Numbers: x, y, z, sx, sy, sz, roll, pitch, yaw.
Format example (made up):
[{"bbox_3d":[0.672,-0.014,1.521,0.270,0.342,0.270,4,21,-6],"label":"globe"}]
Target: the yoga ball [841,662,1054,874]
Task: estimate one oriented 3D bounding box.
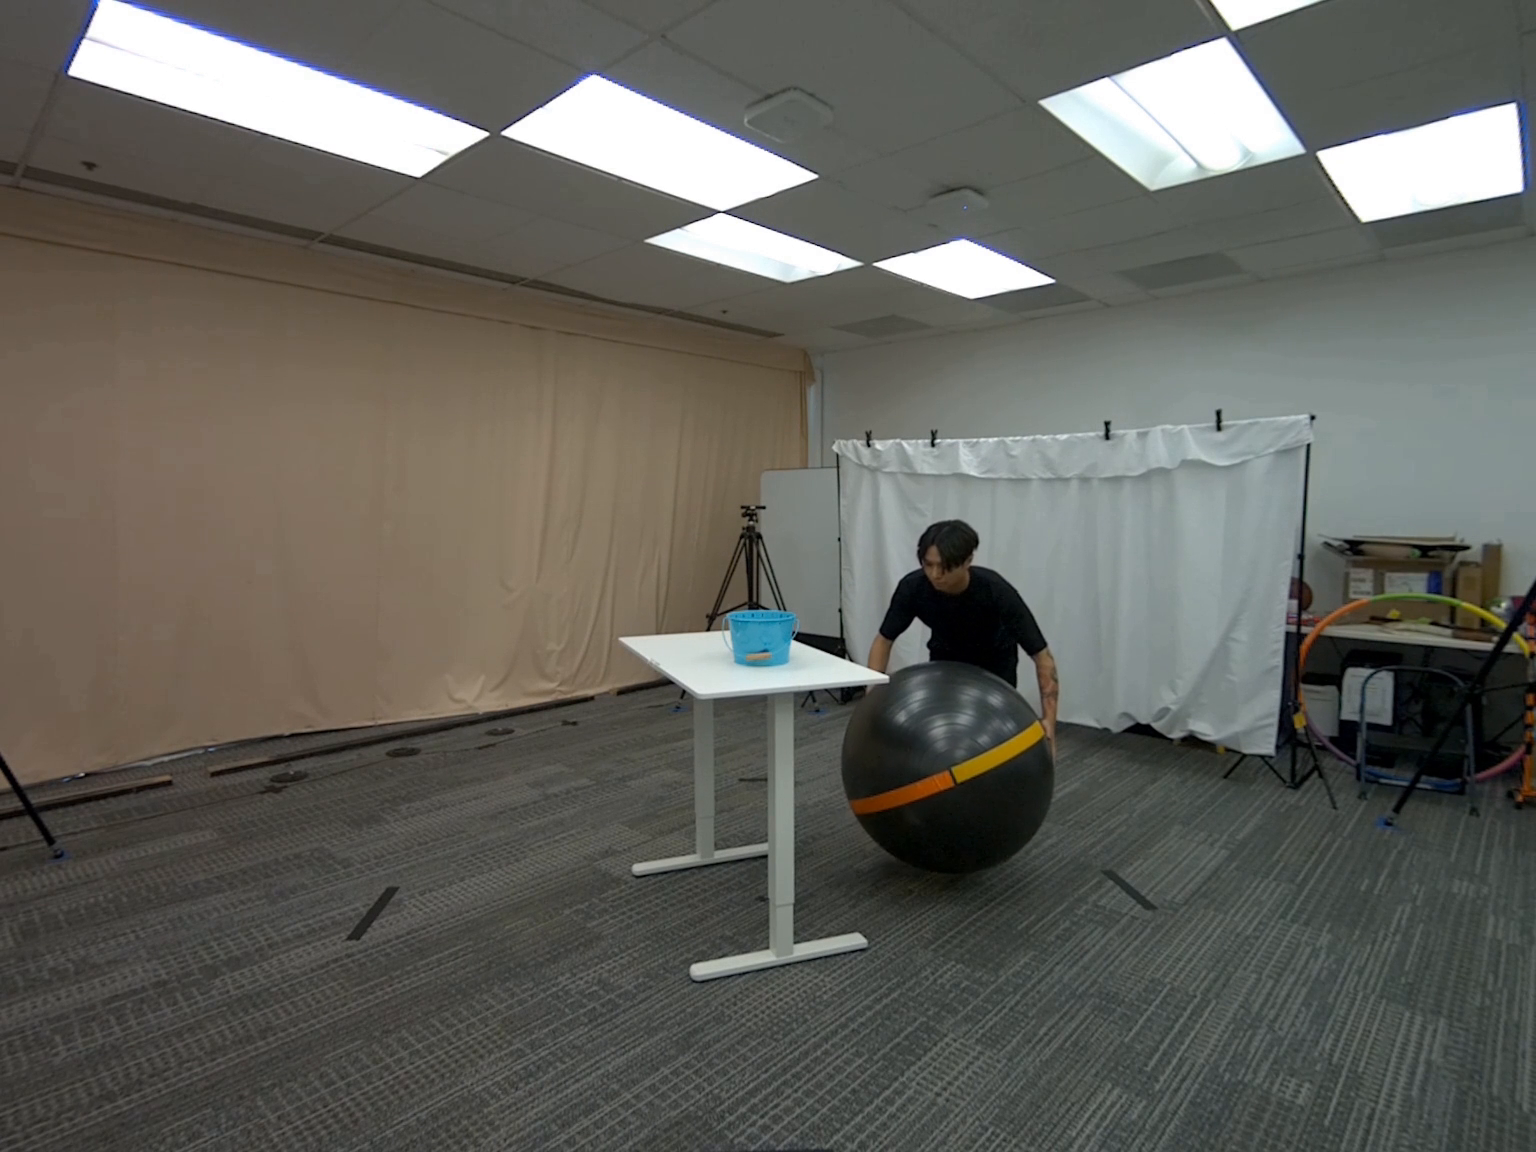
[{"bbox_3d":[0.659,0.705,3.124,0.757,0.756,0.760,0,4,-2],"label":"yoga ball"}]
